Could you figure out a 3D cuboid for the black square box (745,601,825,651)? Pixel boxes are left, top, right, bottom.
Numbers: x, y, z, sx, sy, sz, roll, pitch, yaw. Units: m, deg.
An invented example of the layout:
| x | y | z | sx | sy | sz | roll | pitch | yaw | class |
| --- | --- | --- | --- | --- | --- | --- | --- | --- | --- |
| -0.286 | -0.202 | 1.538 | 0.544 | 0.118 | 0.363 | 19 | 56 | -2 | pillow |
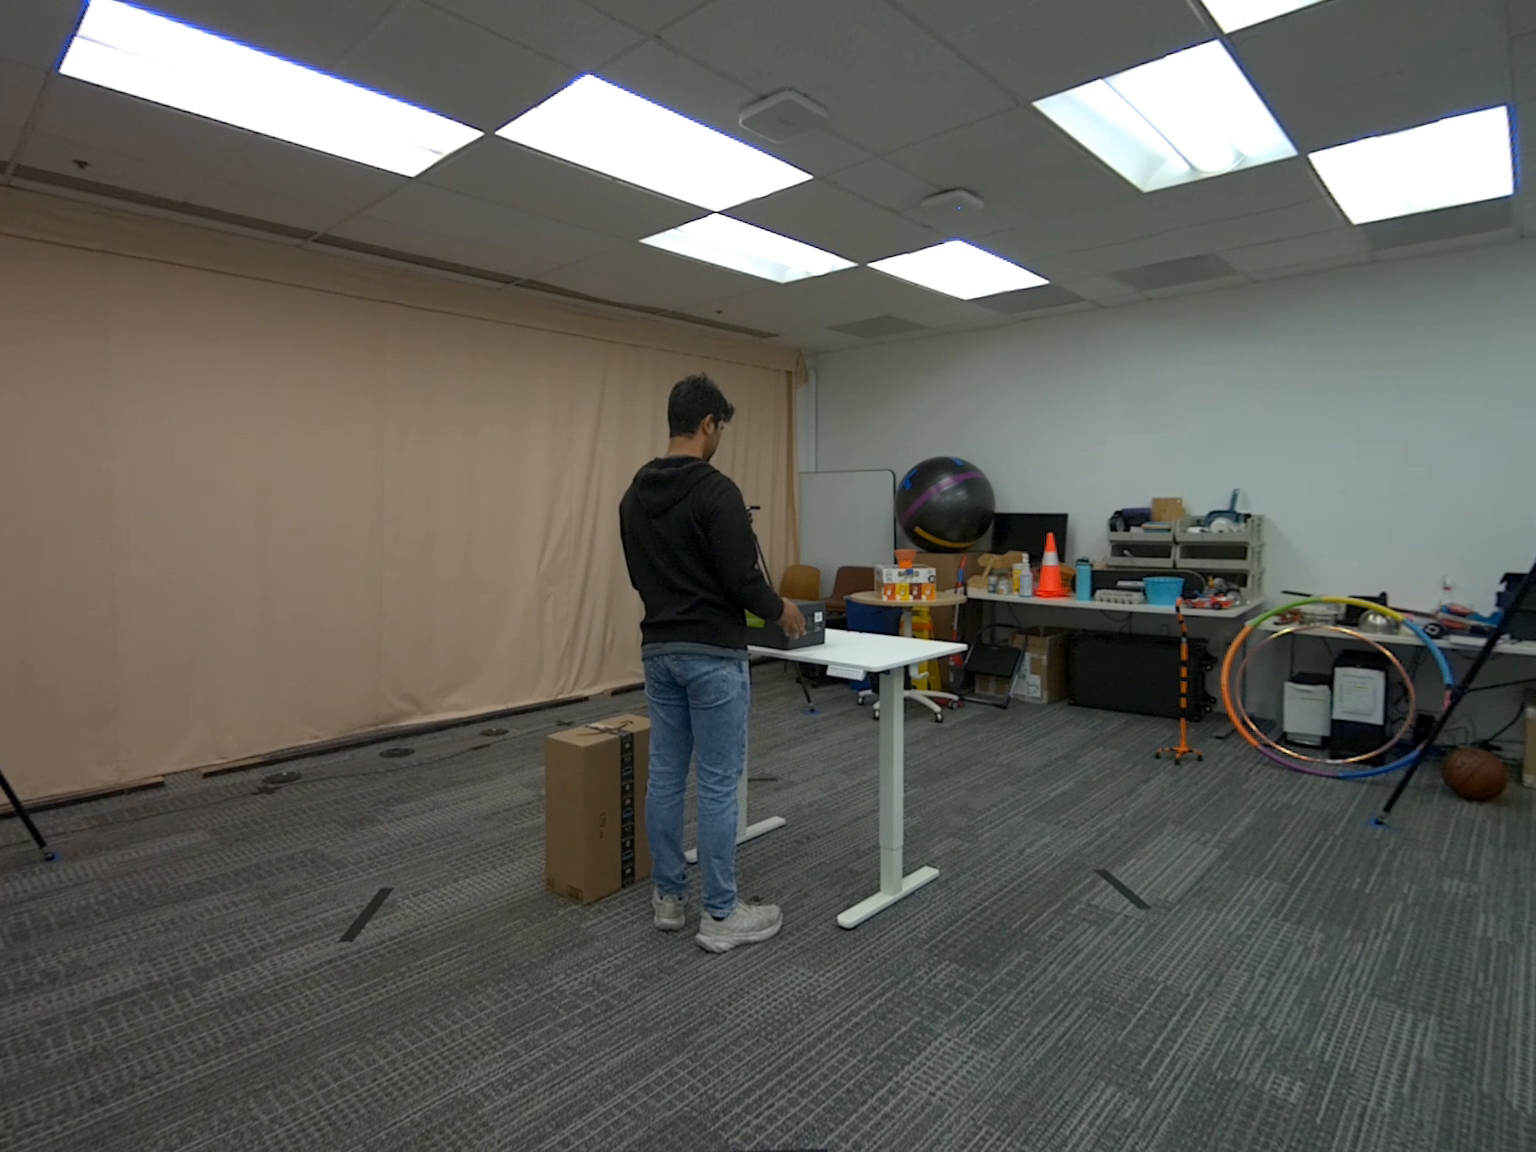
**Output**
| x | y | z | sx | sy | sz | roll | pitch | yaw | class |
| --- | --- | --- | --- | --- | --- | --- | --- | --- | --- |
| 0.068 | 0.174 | 3.108 | 0.235 | 0.155 | 0.210 | 3 | 5 | 44 | black square box |
